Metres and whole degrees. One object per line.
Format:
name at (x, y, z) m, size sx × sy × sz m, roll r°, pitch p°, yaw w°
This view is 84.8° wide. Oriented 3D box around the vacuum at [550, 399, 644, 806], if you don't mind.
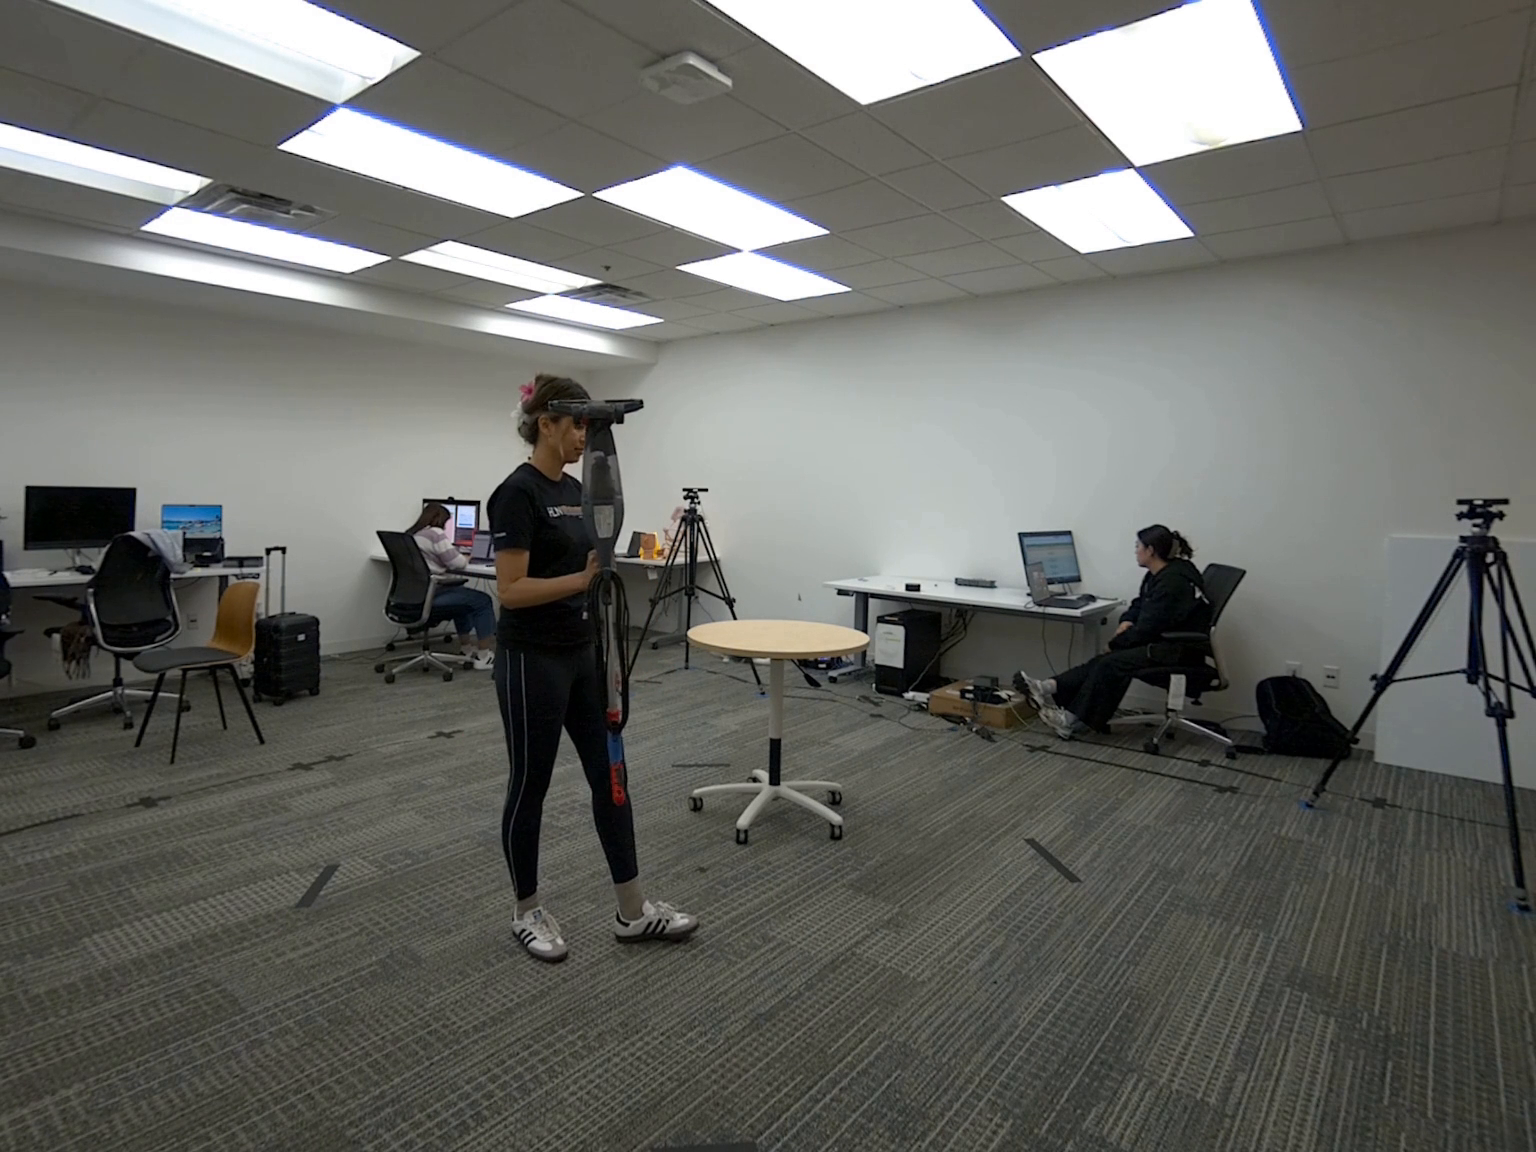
vacuum at (-0.426, 0.070, 2.226) m, size 0.251 × 1.051 × 0.145 m, roll -4°, pitch -2°, yaw -8°
